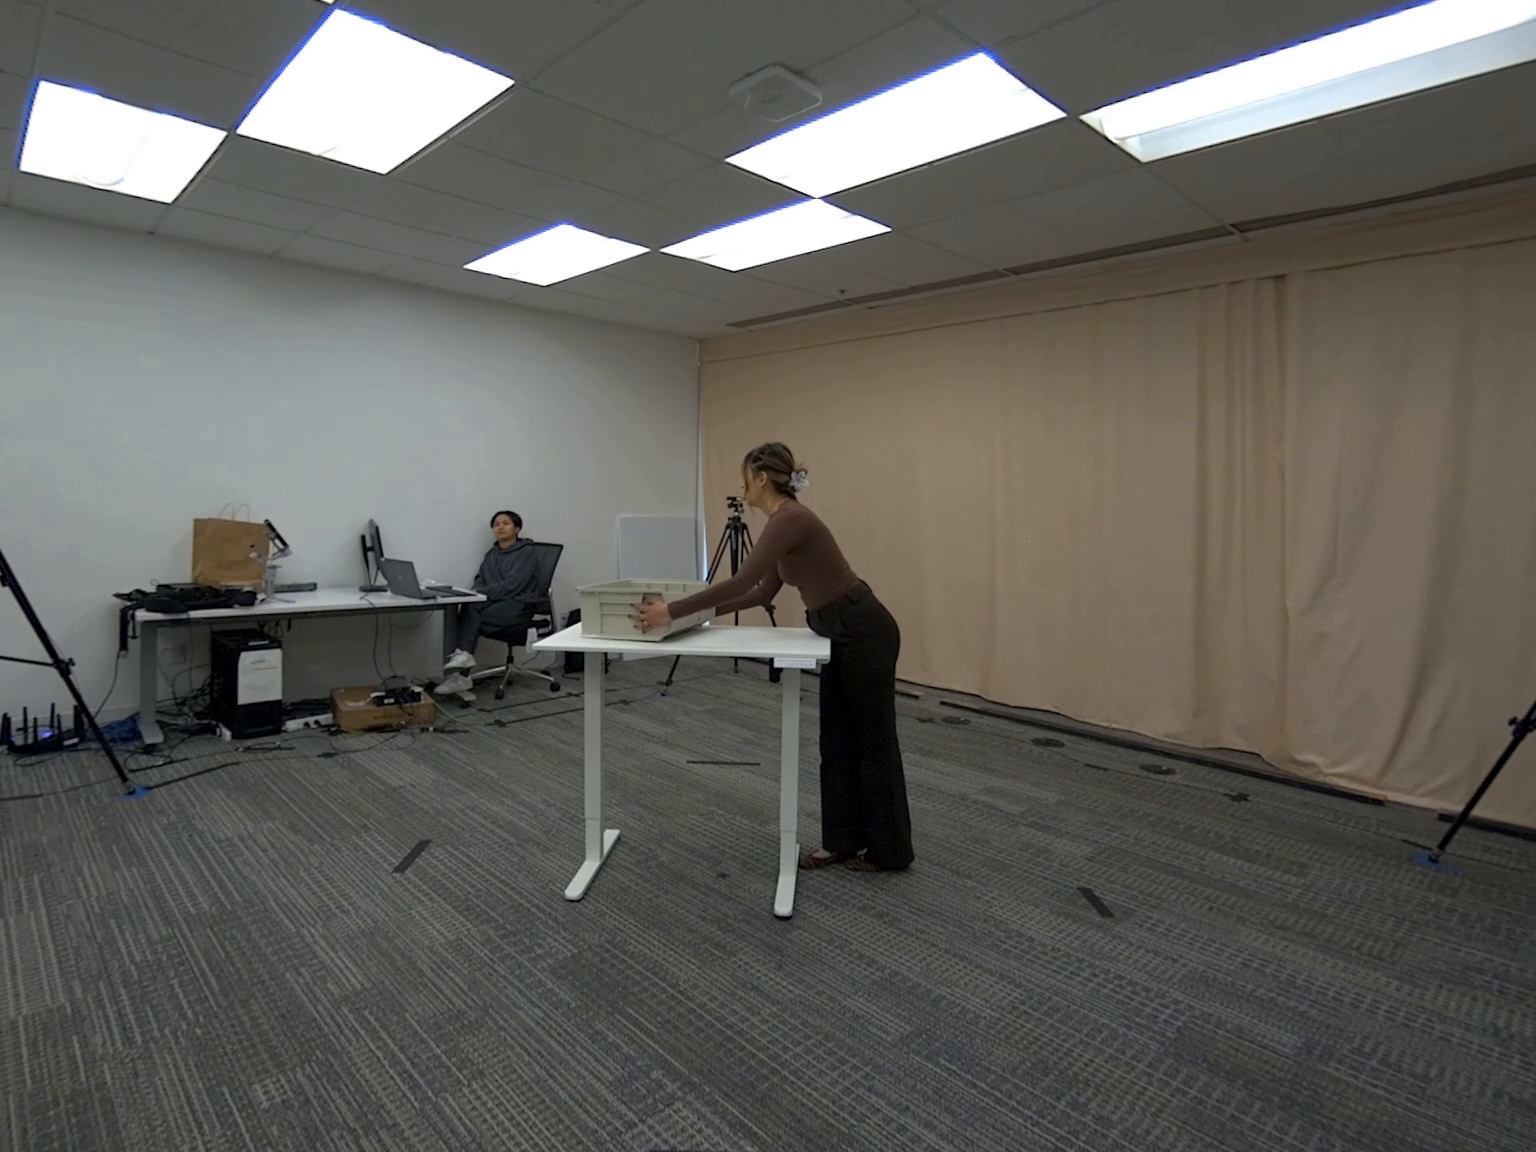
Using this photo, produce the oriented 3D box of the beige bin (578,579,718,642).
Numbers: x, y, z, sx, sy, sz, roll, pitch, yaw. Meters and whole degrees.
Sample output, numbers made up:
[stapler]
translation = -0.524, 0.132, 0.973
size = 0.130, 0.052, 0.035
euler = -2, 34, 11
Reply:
[beige bin]
translation = -0.453, 0.121, 3.144
size = 0.383, 0.188, 0.417
euler = 0, 4, 18
